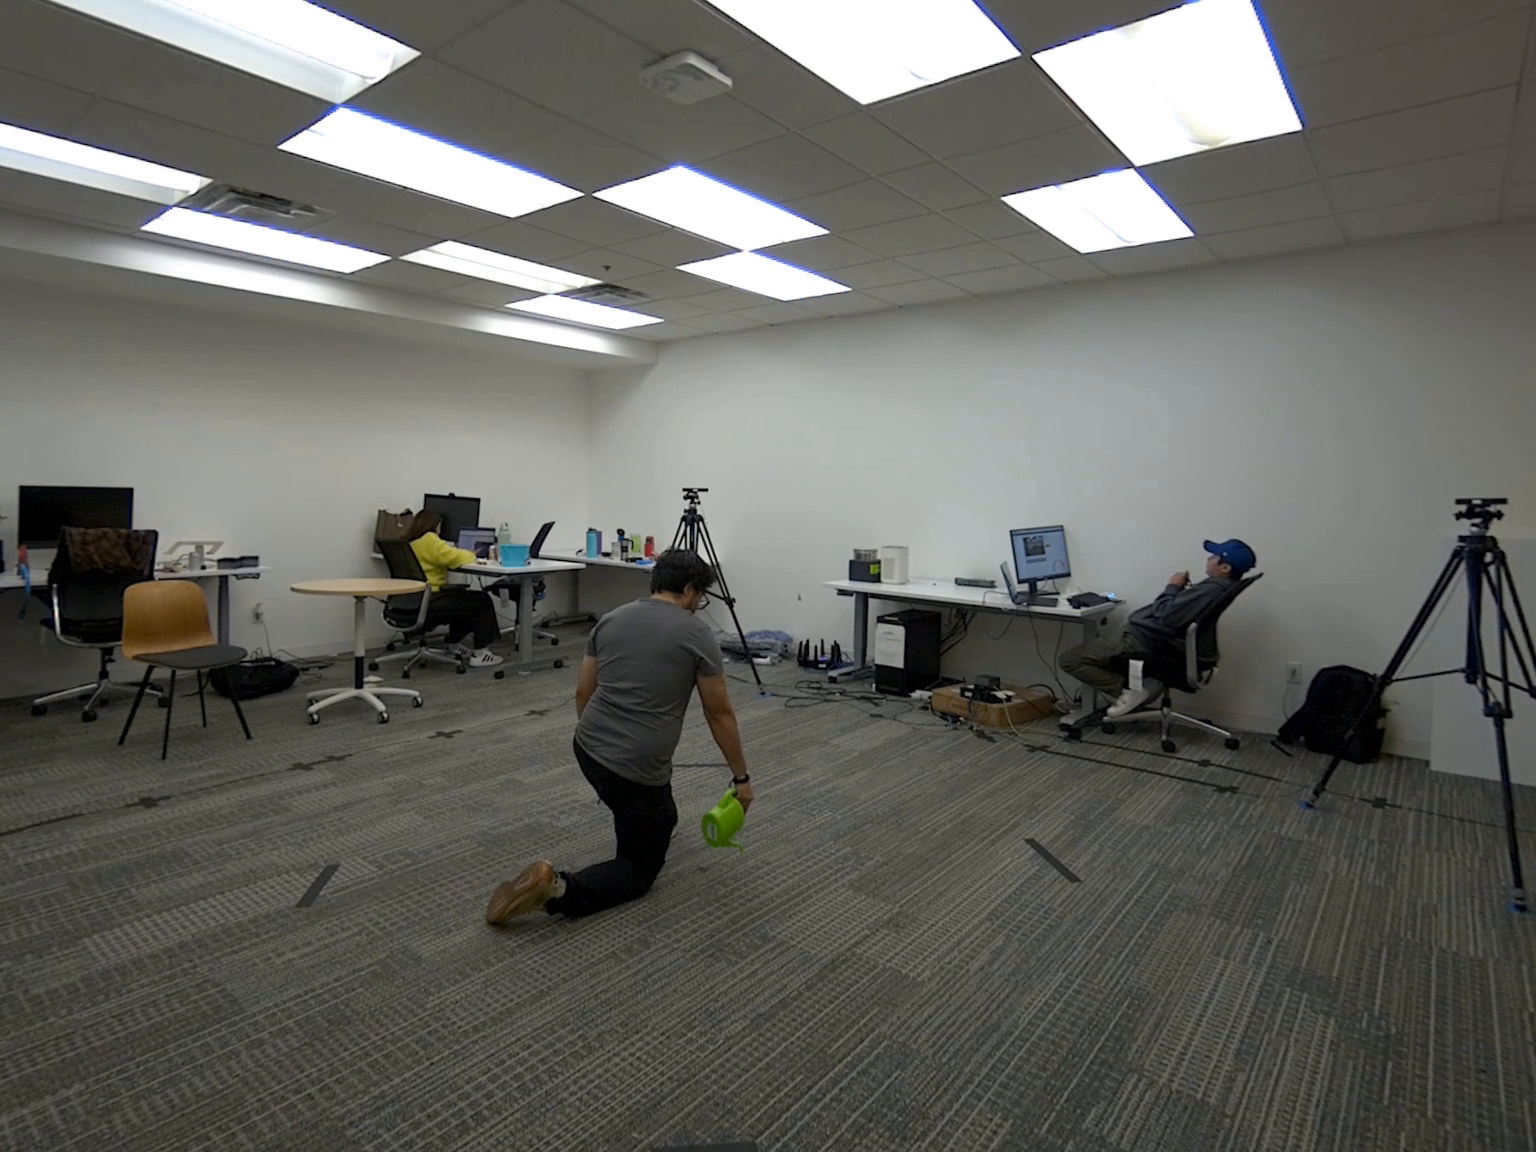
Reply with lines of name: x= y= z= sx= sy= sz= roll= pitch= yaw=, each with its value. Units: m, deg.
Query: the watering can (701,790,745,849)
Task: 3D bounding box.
watering can: x=-0.149 y=0.896 z=2.986 sx=0.101 sy=0.275 sz=0.174 roll=-6 pitch=11 yaw=38
